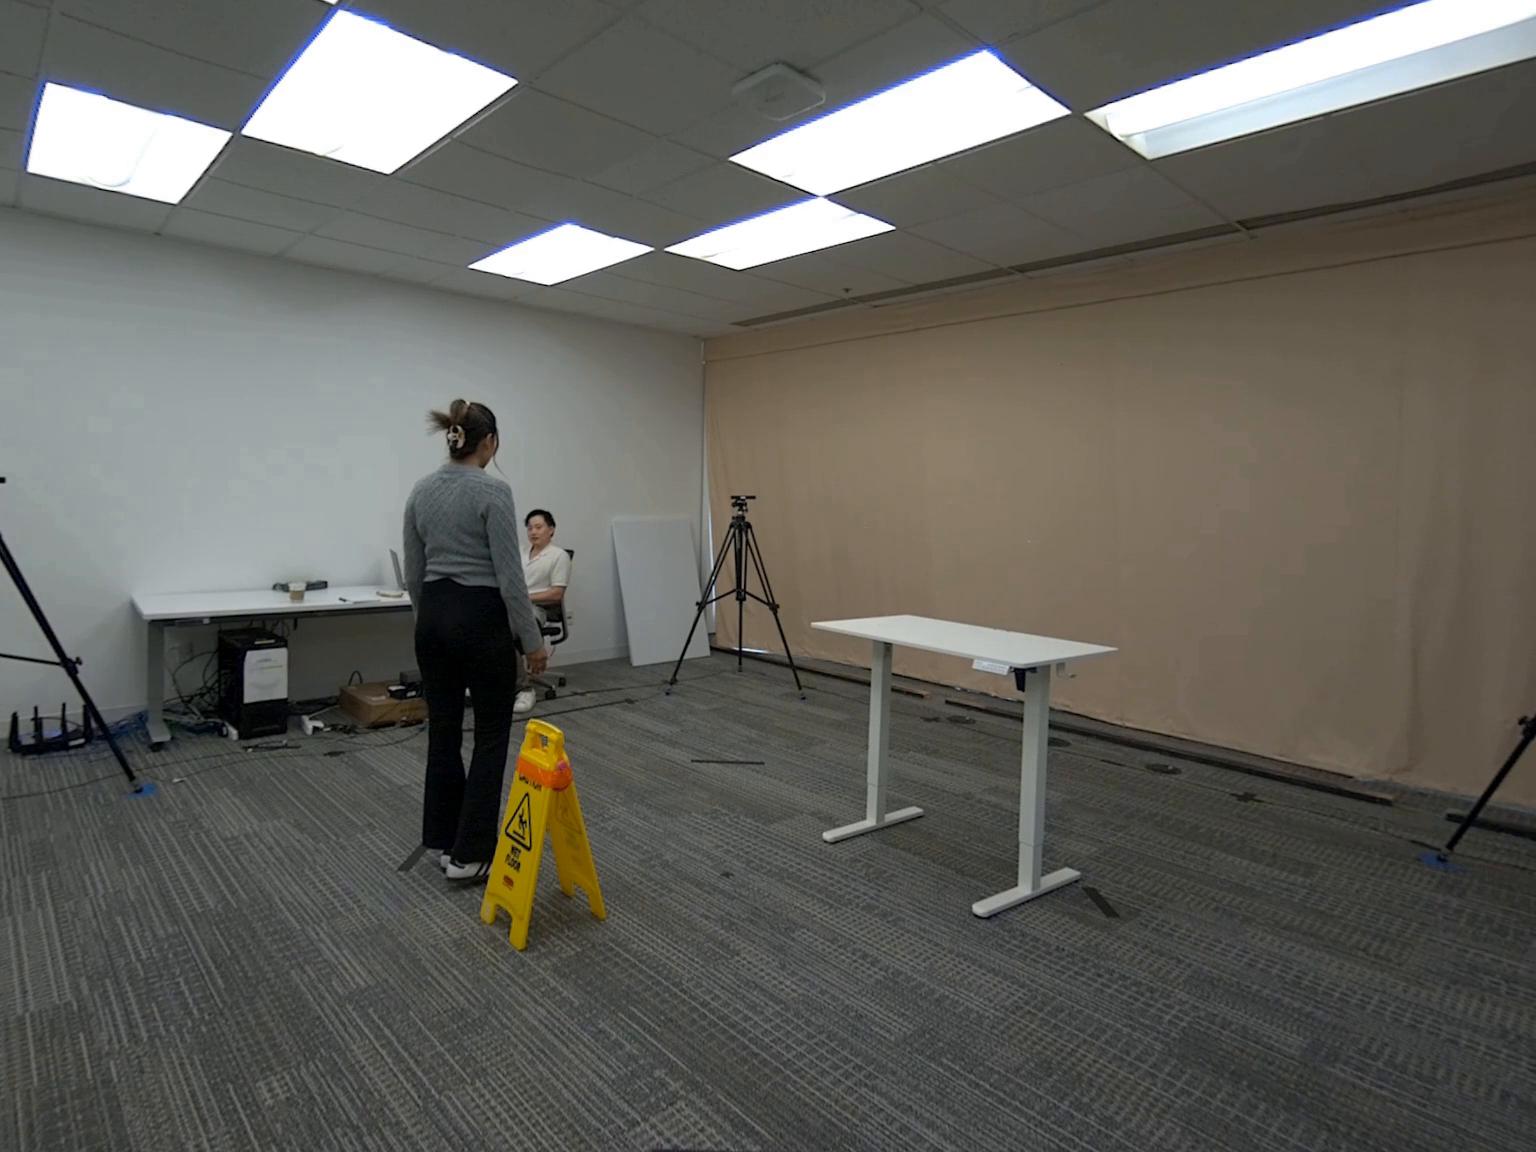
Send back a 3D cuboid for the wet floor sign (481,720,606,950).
[{"bbox_3d":[-0.733,0.805,2.738,0.283,0.644,0.289,-2,4,-43],"label":"wet floor sign"}]
